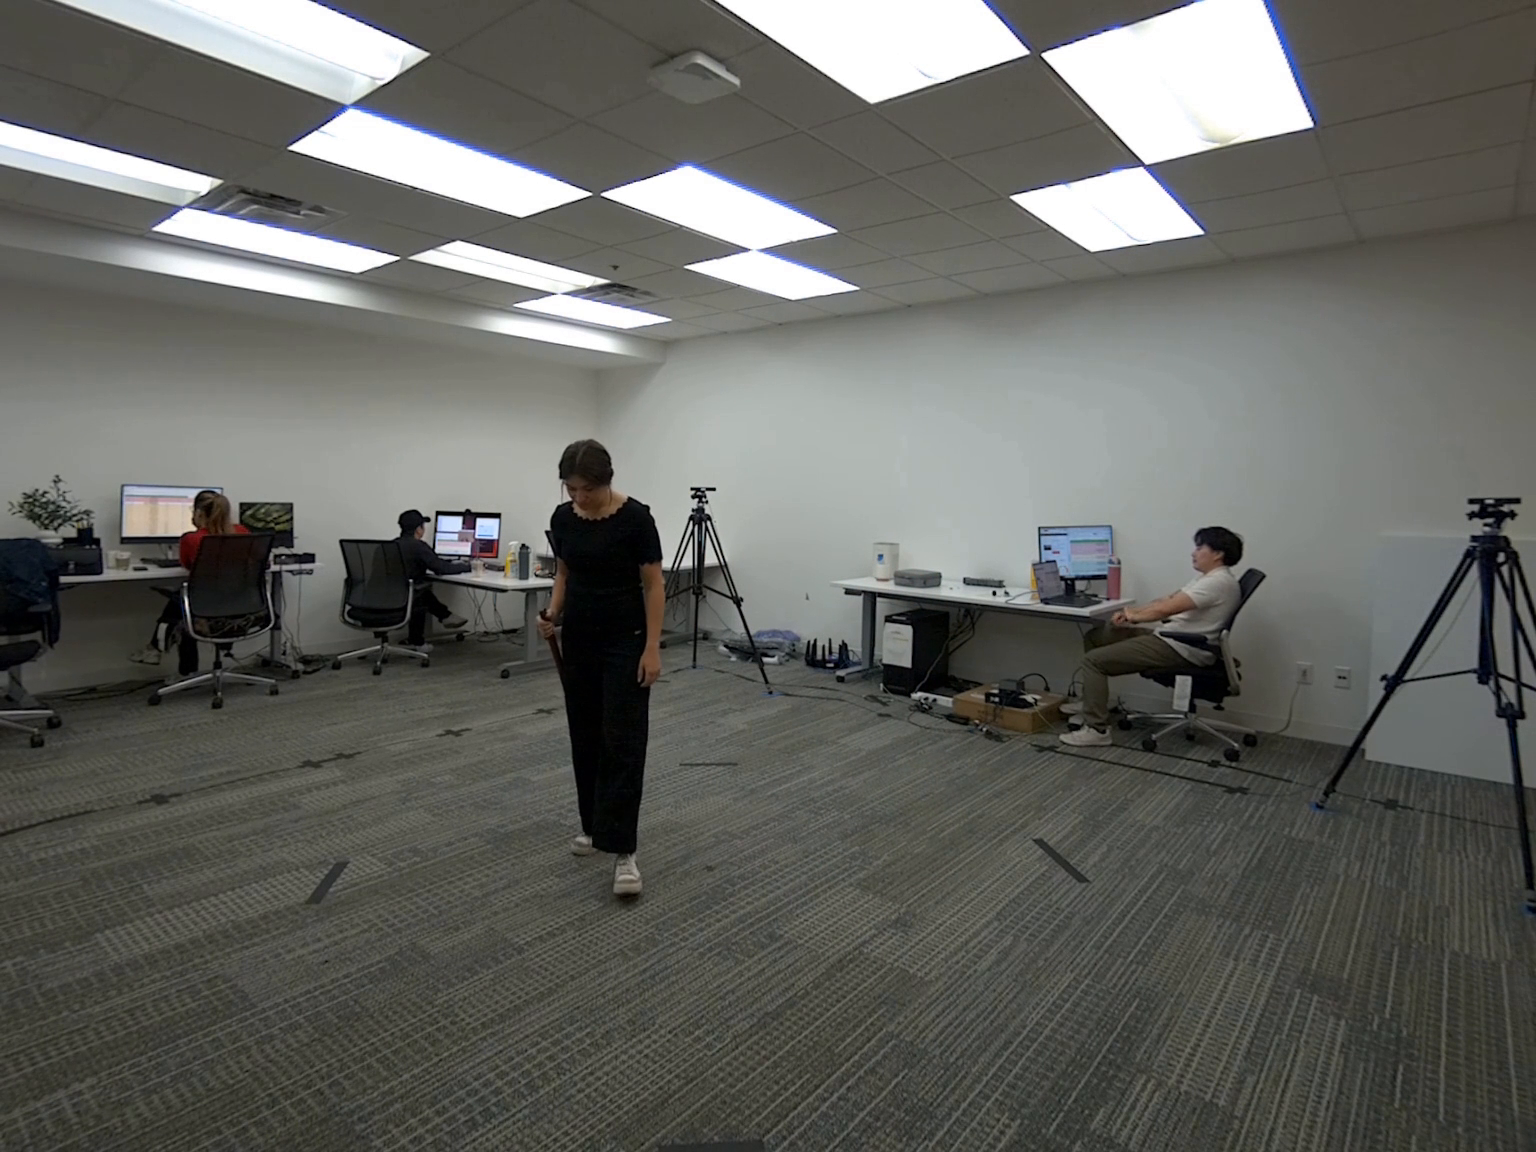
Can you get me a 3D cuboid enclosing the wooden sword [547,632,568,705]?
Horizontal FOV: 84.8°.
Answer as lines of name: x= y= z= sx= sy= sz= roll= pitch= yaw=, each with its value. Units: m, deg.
wooden sword: x=-0.790 y=0.564 z=3.317 sx=0.025 sy=0.996 sz=0.051 roll=10 pitch=35 yaw=40
